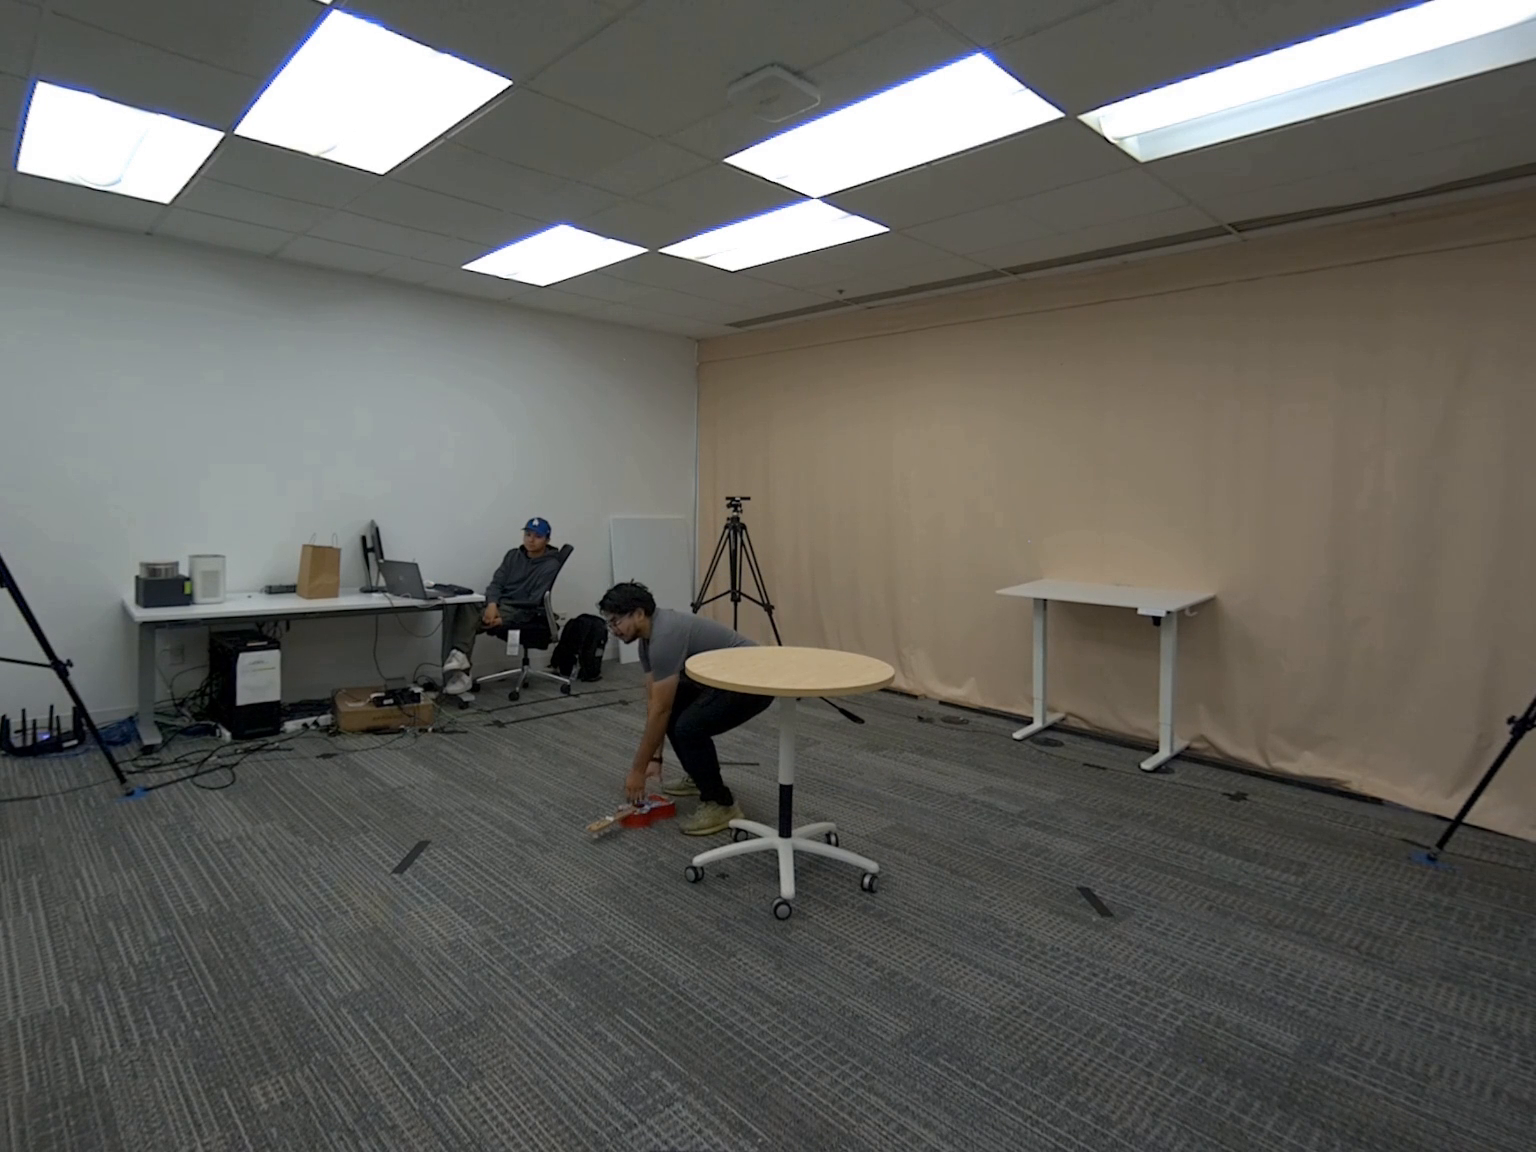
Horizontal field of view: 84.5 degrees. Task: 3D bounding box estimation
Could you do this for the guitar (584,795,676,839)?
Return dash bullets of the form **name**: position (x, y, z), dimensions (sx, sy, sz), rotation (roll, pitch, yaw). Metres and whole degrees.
- **guitar**: position (-0.622, 1.019, 3.586), dimensions (0.198, 0.070, 0.487), rotation (4, 5, 37)
